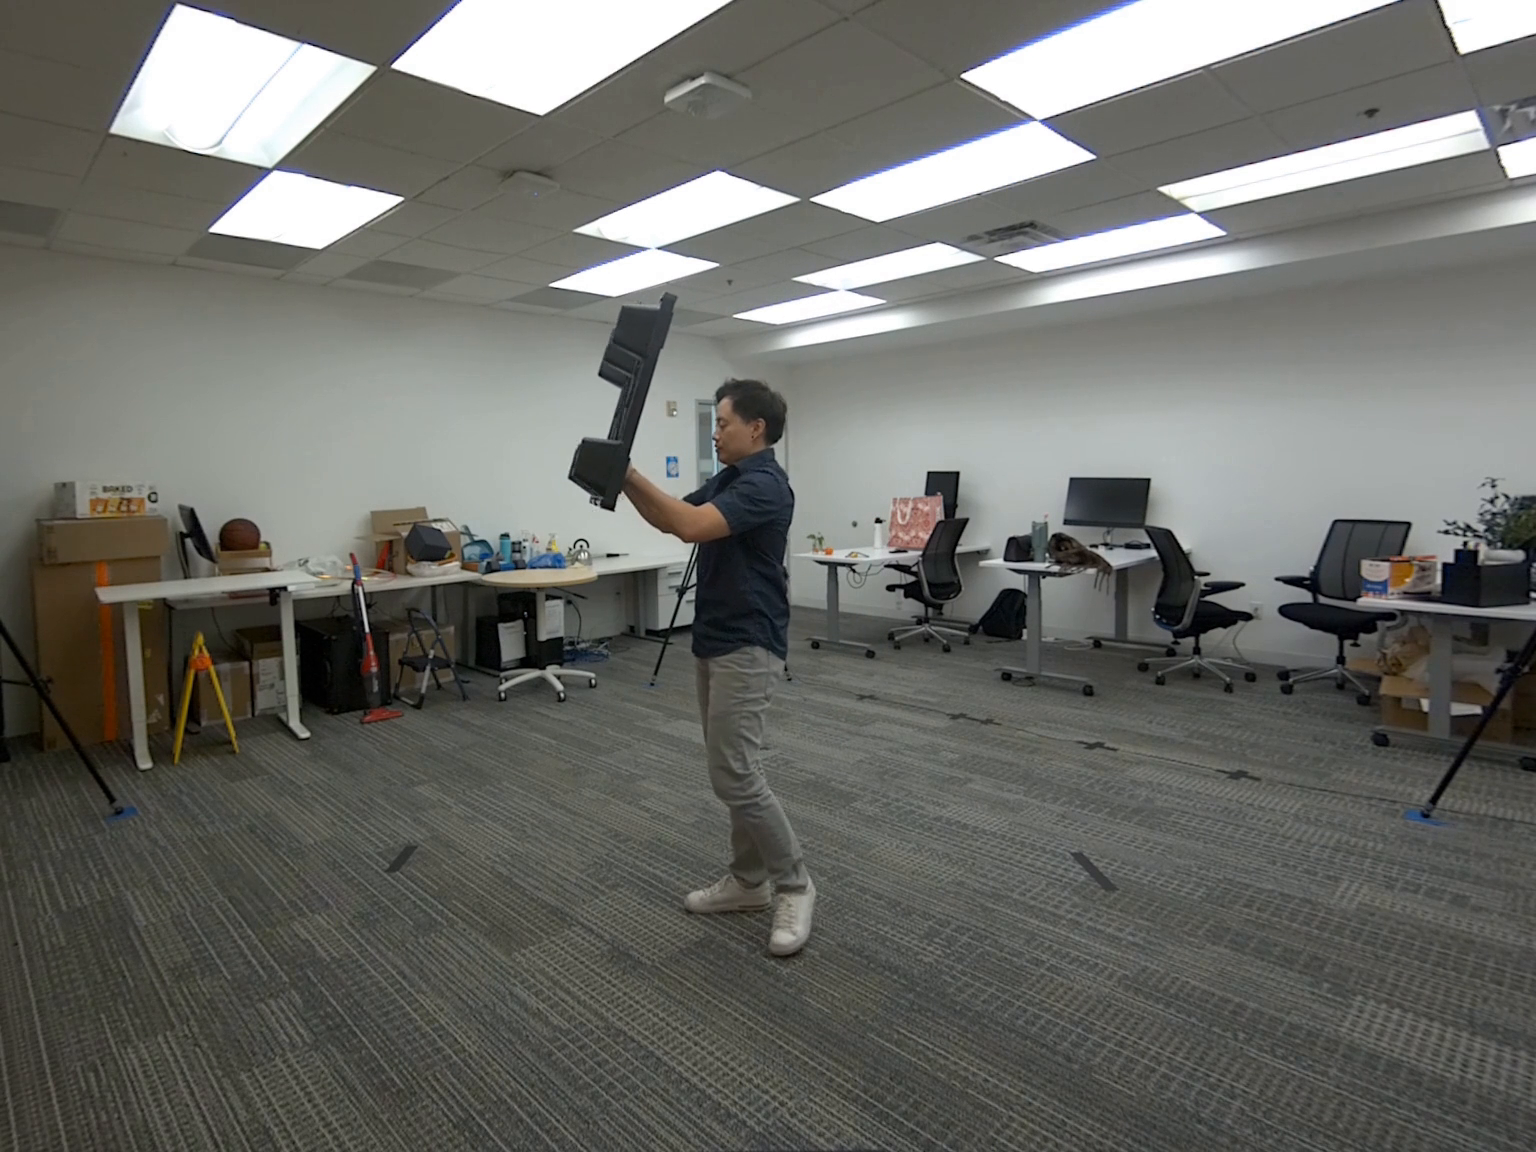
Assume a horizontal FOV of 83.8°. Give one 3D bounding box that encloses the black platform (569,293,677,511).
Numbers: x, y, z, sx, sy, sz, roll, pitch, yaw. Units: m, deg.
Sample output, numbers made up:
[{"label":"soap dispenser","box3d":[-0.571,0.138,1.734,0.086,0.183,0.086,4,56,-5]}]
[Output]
[{"label":"black platform","box3d":[-0.470,-0.514,2.618,0.141,0.605,0.818,15,1,-15]}]
